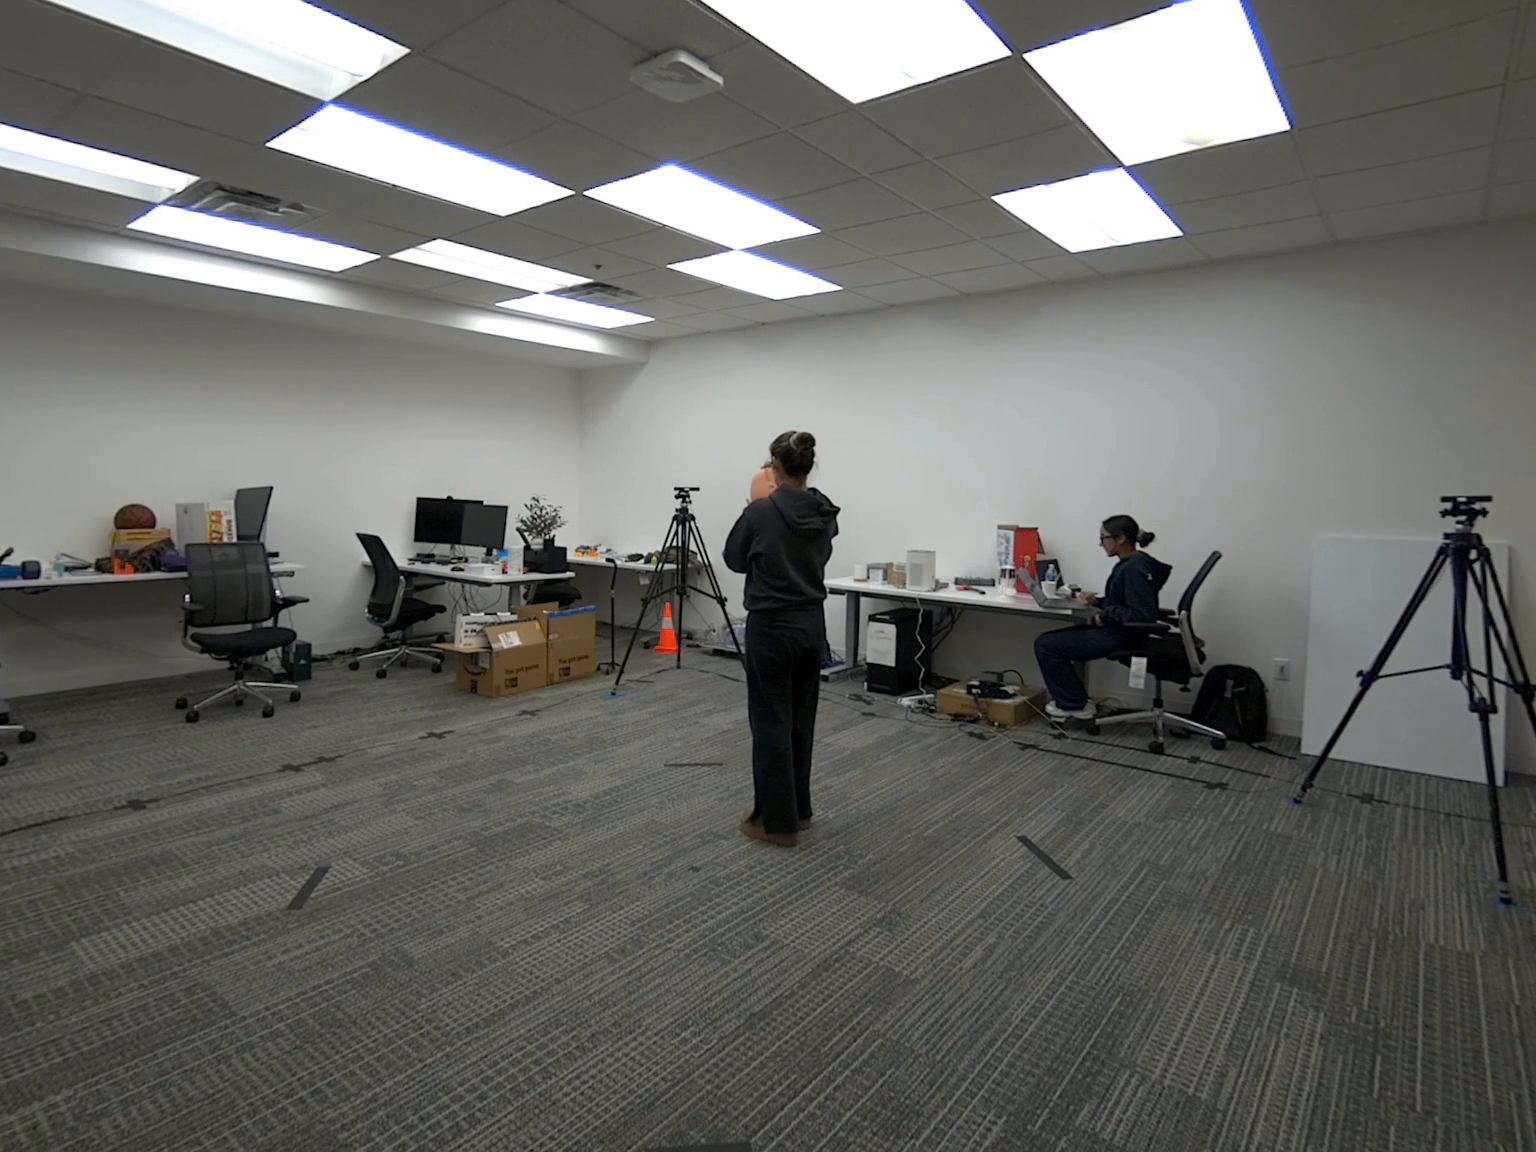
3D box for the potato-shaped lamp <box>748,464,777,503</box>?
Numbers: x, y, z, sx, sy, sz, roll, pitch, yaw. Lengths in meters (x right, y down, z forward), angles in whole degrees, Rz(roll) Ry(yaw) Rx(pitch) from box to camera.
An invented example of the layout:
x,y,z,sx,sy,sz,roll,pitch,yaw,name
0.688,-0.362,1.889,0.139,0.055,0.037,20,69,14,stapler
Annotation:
x,y,z,sx,sy,sz,roll,pitch,yaw,name
0.004,-0.383,3.704,0.175,0.199,0.160,-1,-5,20,potato-shaped lamp
